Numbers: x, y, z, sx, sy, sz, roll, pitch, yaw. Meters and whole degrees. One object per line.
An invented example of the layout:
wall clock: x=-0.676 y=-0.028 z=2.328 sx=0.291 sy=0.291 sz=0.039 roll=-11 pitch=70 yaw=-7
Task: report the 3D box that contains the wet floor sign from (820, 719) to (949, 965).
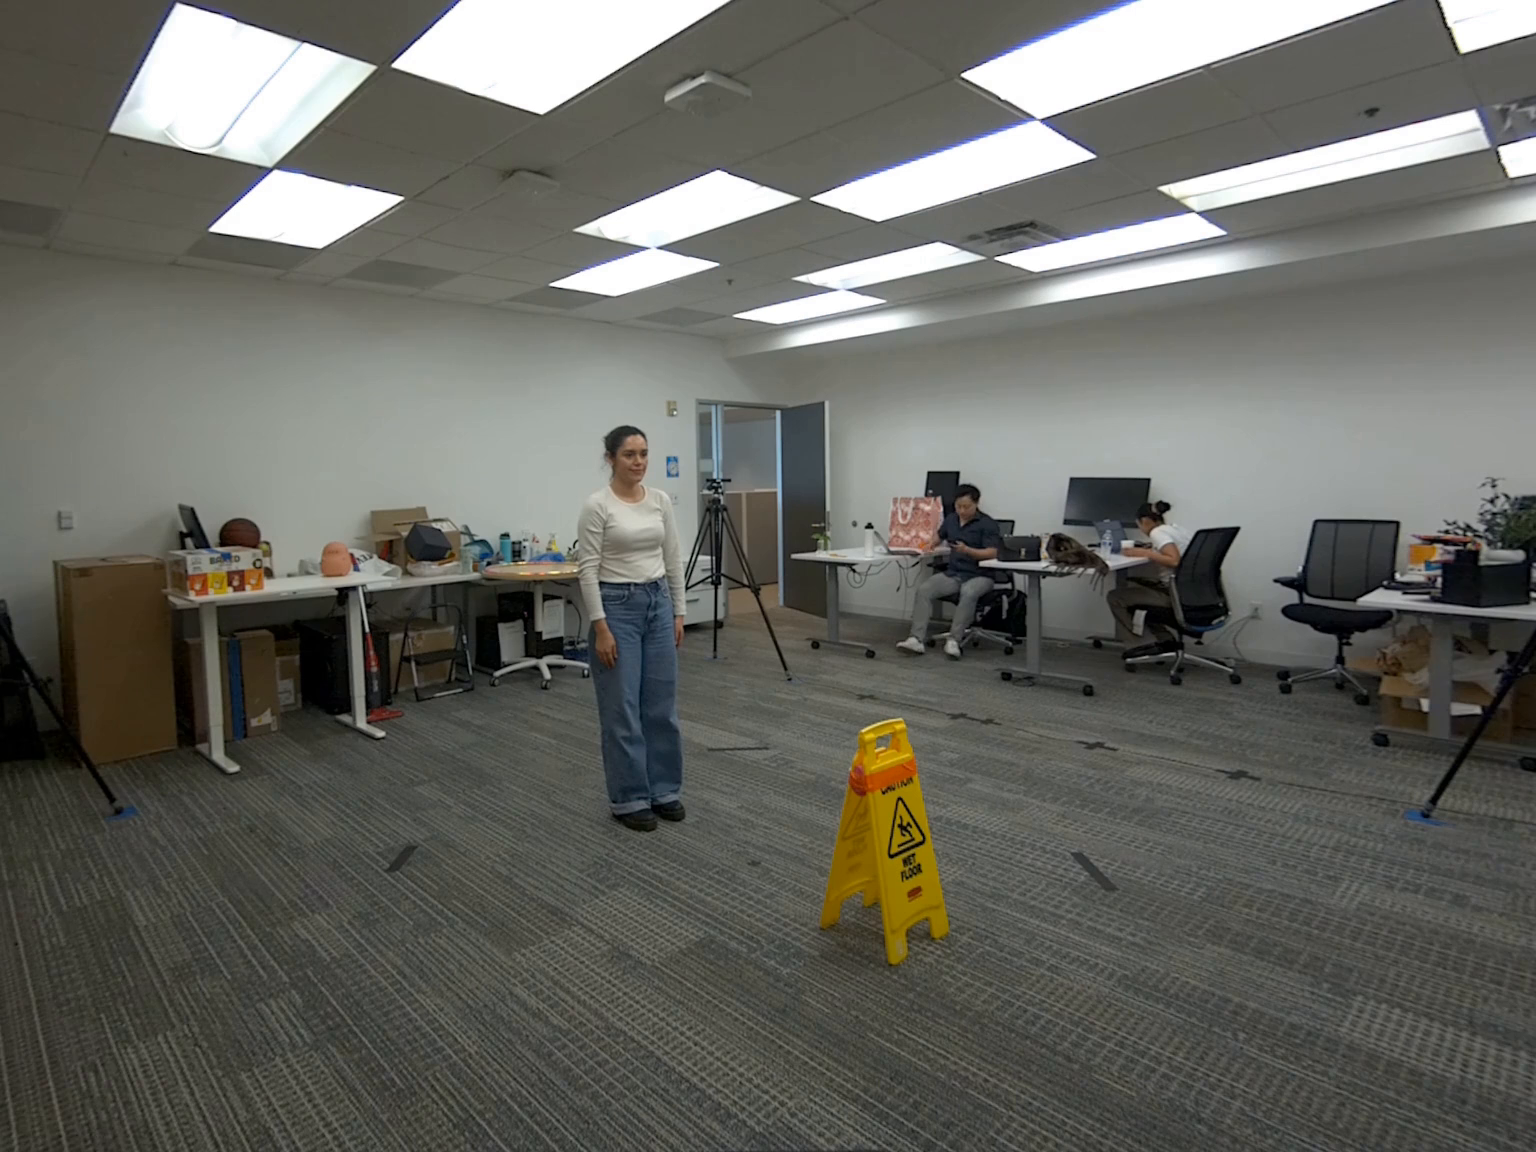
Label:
wet floor sign: x=0.359 y=0.772 z=2.608 sx=0.275 sy=0.643 sz=0.299 roll=-6 pitch=7 yaw=-42
